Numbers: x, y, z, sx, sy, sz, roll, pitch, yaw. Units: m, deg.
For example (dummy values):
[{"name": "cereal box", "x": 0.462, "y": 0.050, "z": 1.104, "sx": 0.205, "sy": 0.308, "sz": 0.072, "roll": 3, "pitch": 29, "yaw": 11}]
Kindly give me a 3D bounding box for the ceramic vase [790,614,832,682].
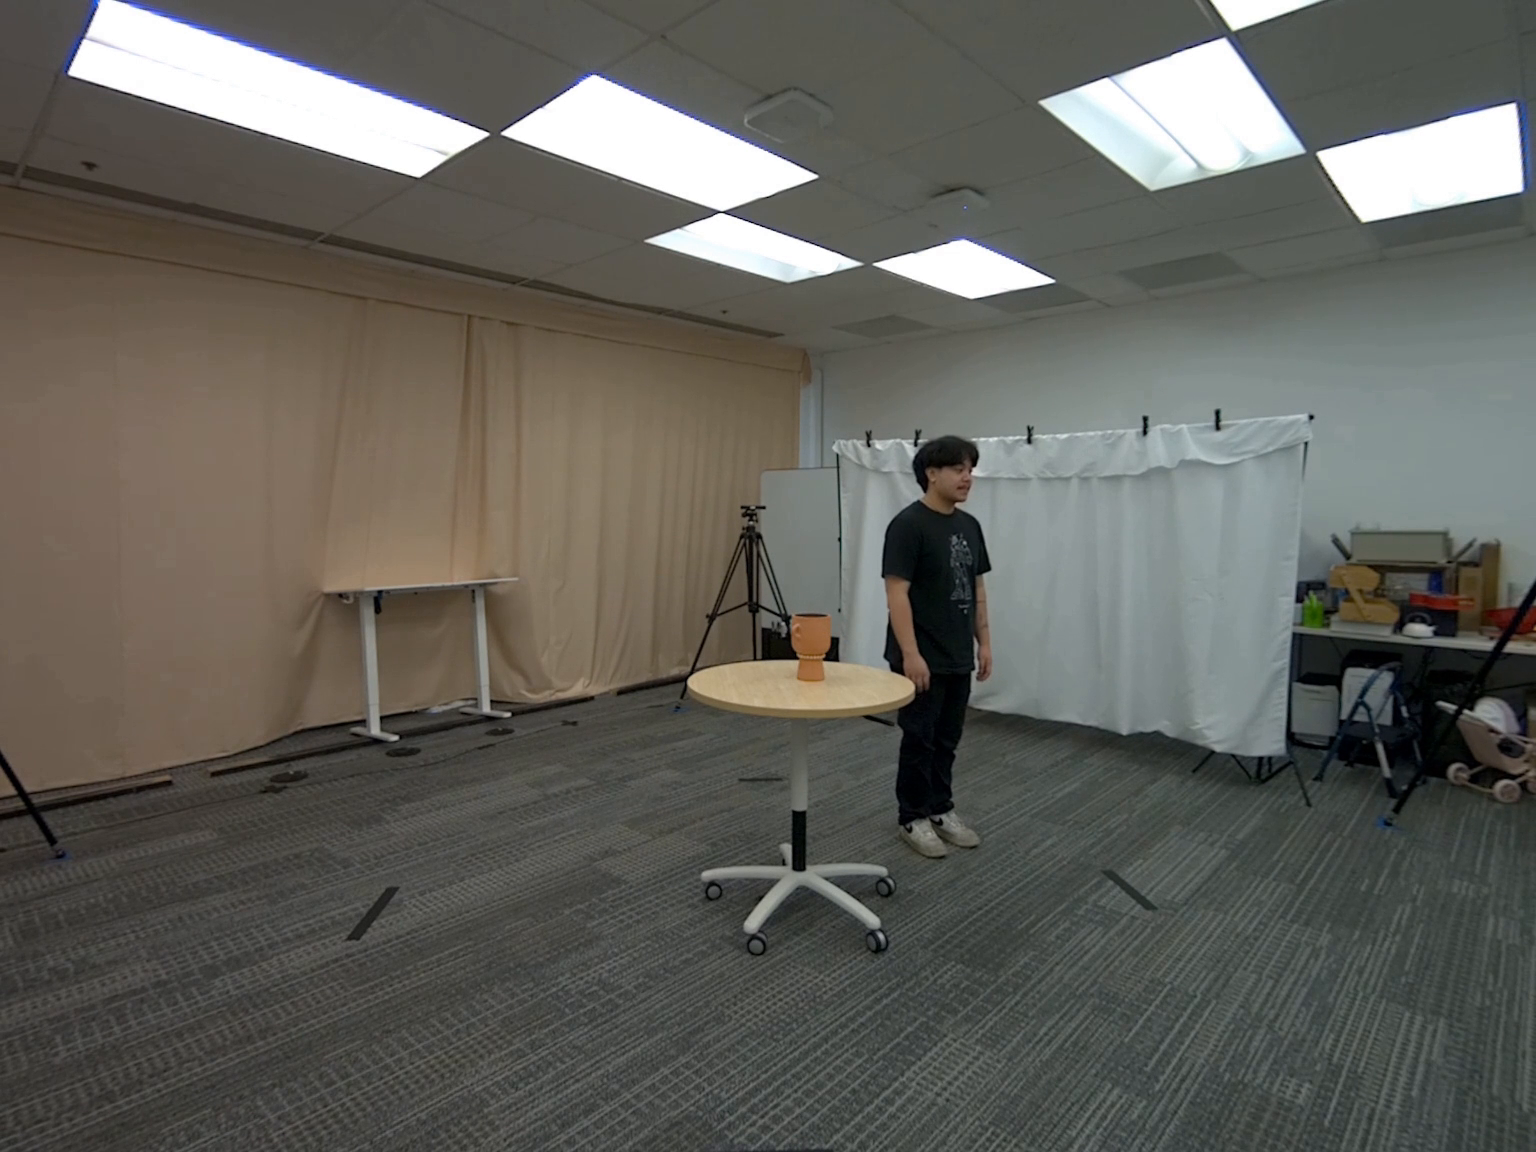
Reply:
[{"name": "ceramic vase", "x": 0.159, "y": 0.247, "z": 2.911, "sx": 0.158, "sy": 0.219, "sz": 0.135, "roll": 1, "pitch": 3, "yaw": -5}]
